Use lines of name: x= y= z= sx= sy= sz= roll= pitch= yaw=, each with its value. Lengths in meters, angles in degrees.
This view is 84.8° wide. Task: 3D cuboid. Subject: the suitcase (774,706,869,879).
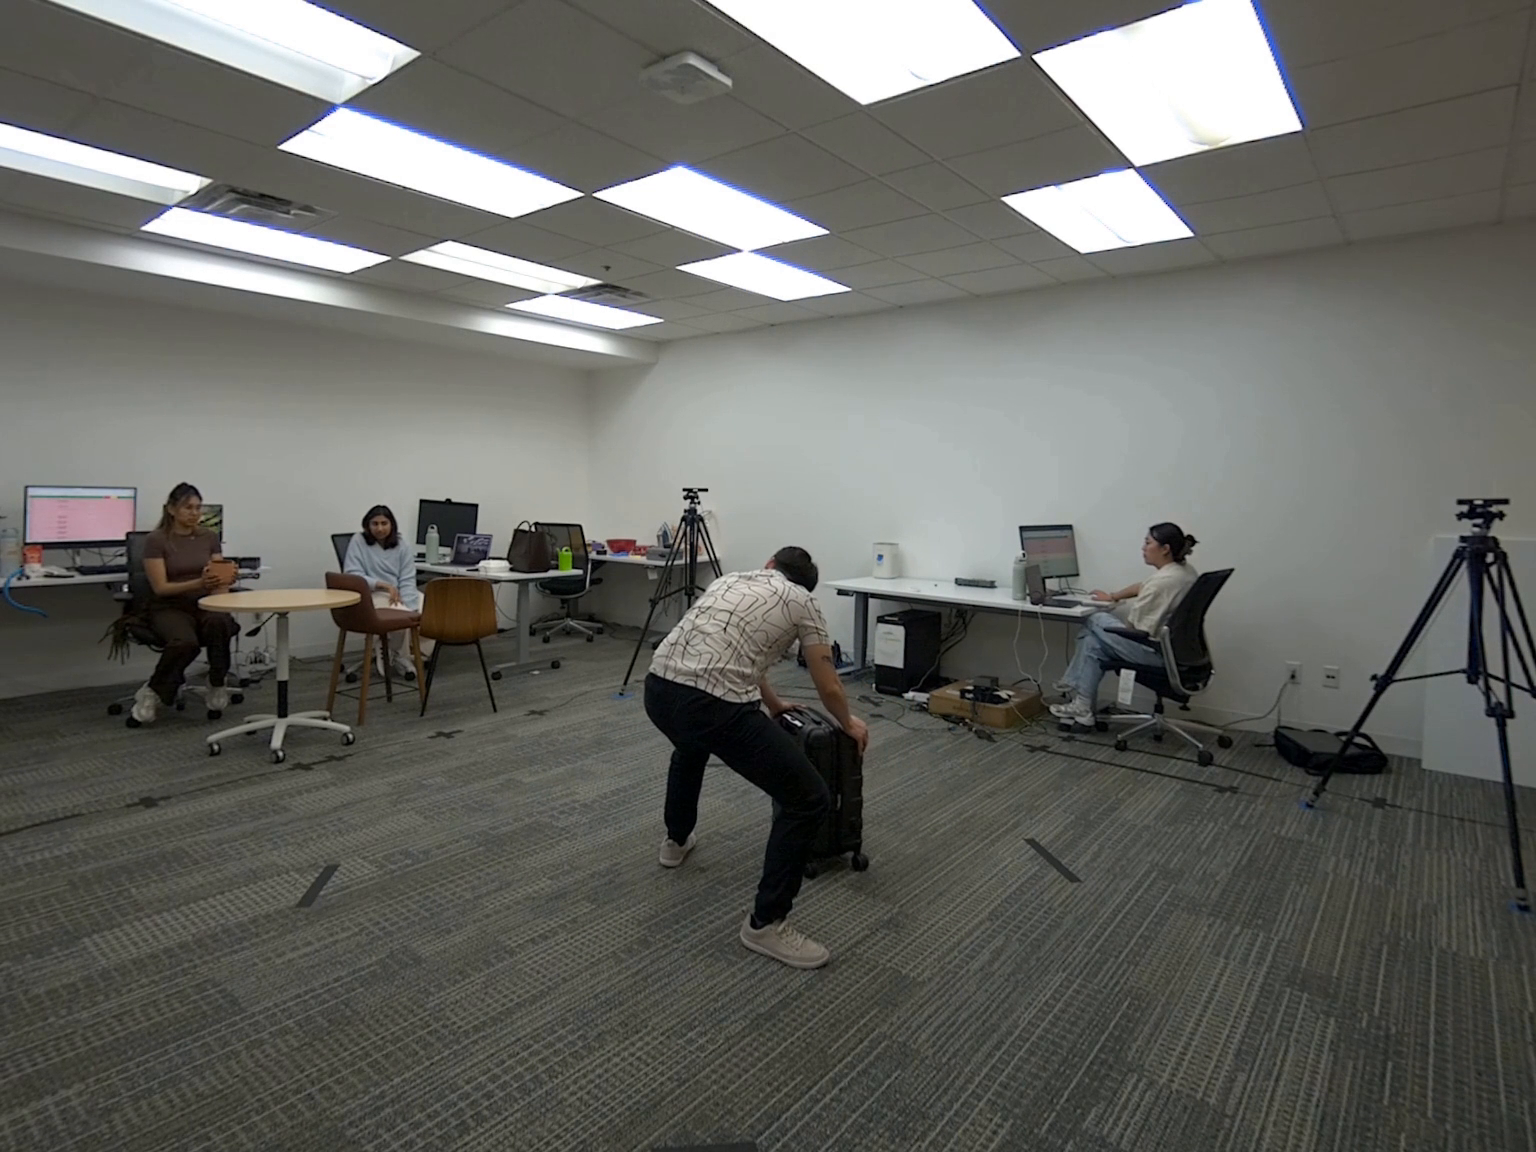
suitcase: x=0.177 y=0.787 z=3.252 sx=0.243 sy=0.548 sz=0.383 roll=-1 pitch=3 yaw=-20
